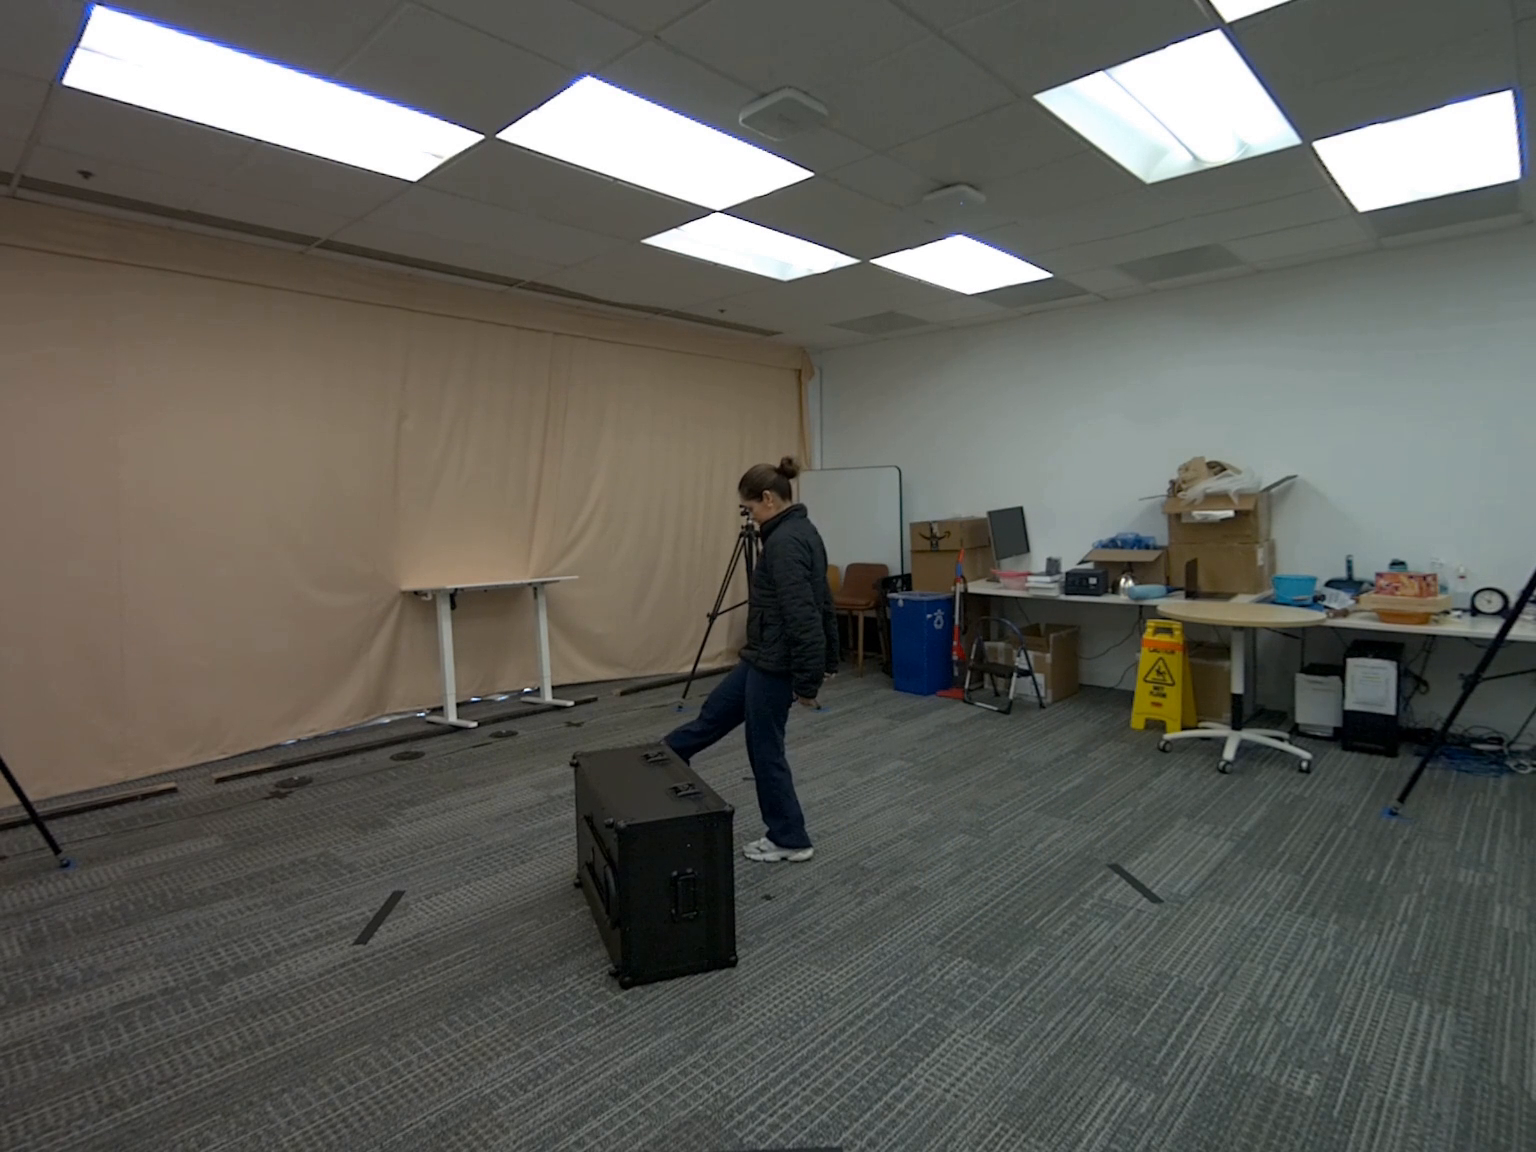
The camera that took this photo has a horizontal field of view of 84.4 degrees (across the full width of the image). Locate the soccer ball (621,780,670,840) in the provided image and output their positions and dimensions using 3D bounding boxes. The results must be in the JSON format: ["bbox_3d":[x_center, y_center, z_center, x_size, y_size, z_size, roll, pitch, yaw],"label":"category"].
[{"bbox_3d":[-0.528,1.003,3.645,0.187,0.187,0.188,-1,4,-2],"label":"soccer ball"}]
